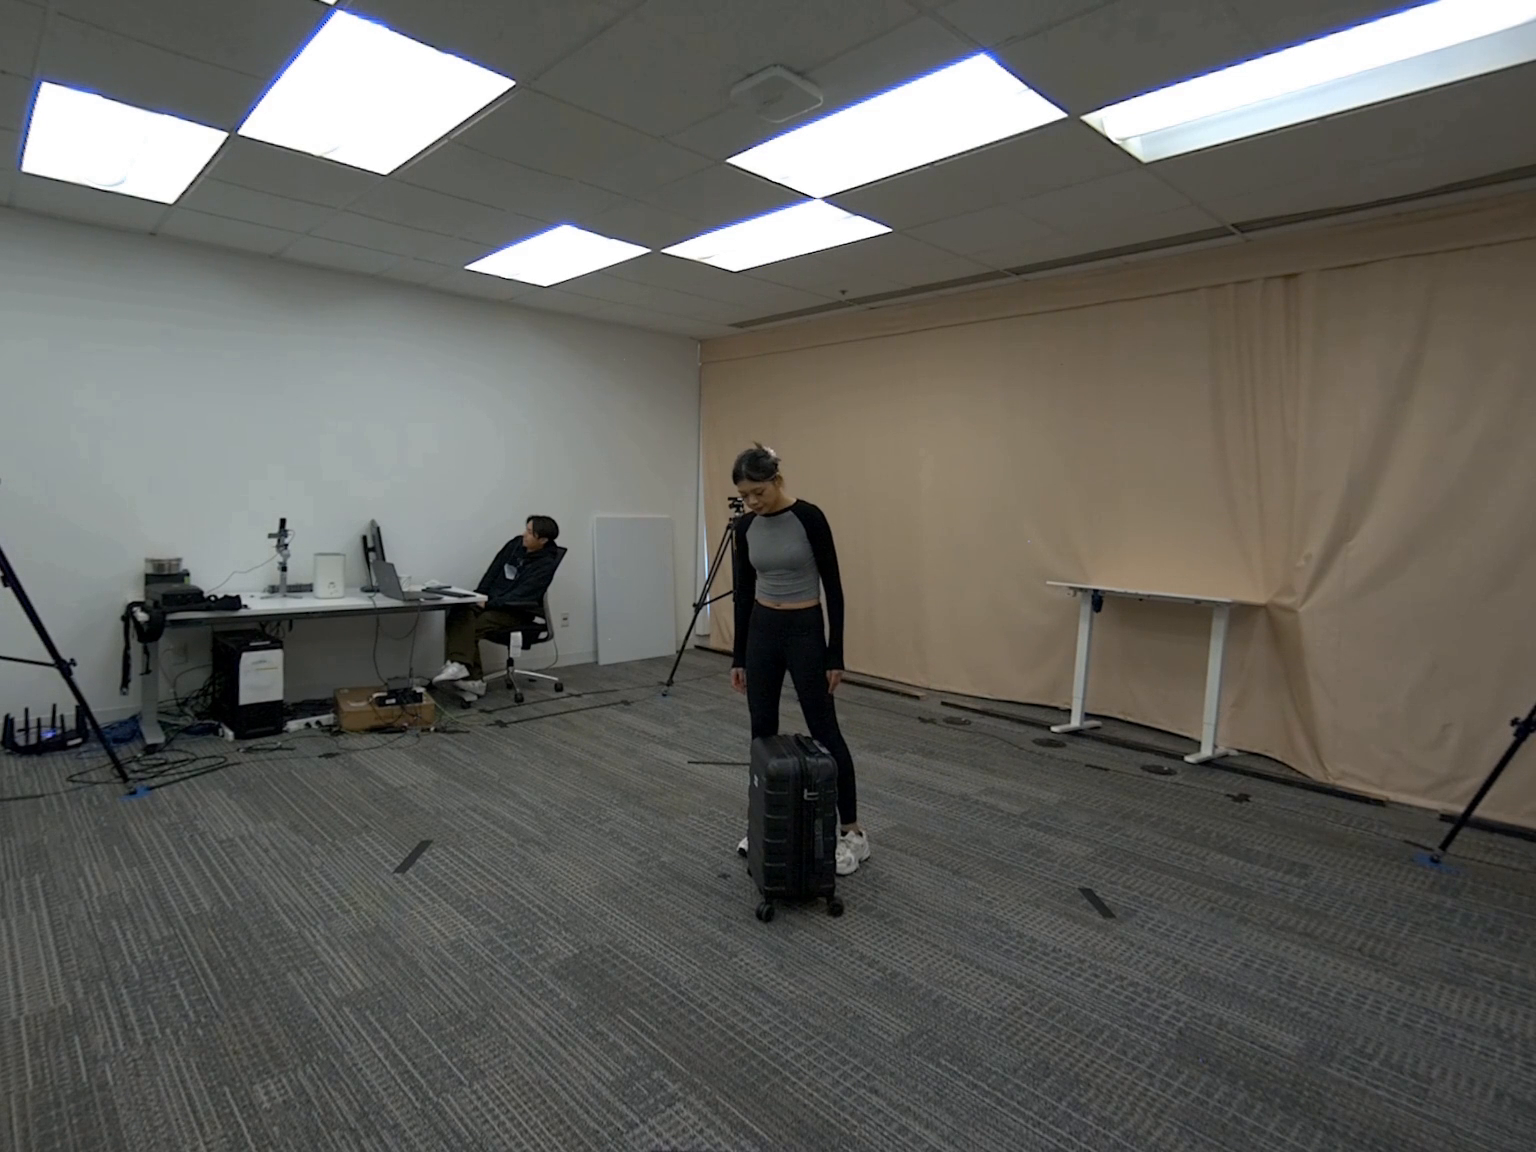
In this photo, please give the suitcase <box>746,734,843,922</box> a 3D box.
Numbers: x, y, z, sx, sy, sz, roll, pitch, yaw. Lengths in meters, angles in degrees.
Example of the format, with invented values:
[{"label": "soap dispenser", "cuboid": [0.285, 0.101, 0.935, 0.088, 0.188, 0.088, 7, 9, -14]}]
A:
[{"label": "suitcase", "cuboid": [0.066, 0.850, 2.944, 0.246, 0.548, 0.379, 1, 4, -9]}]
